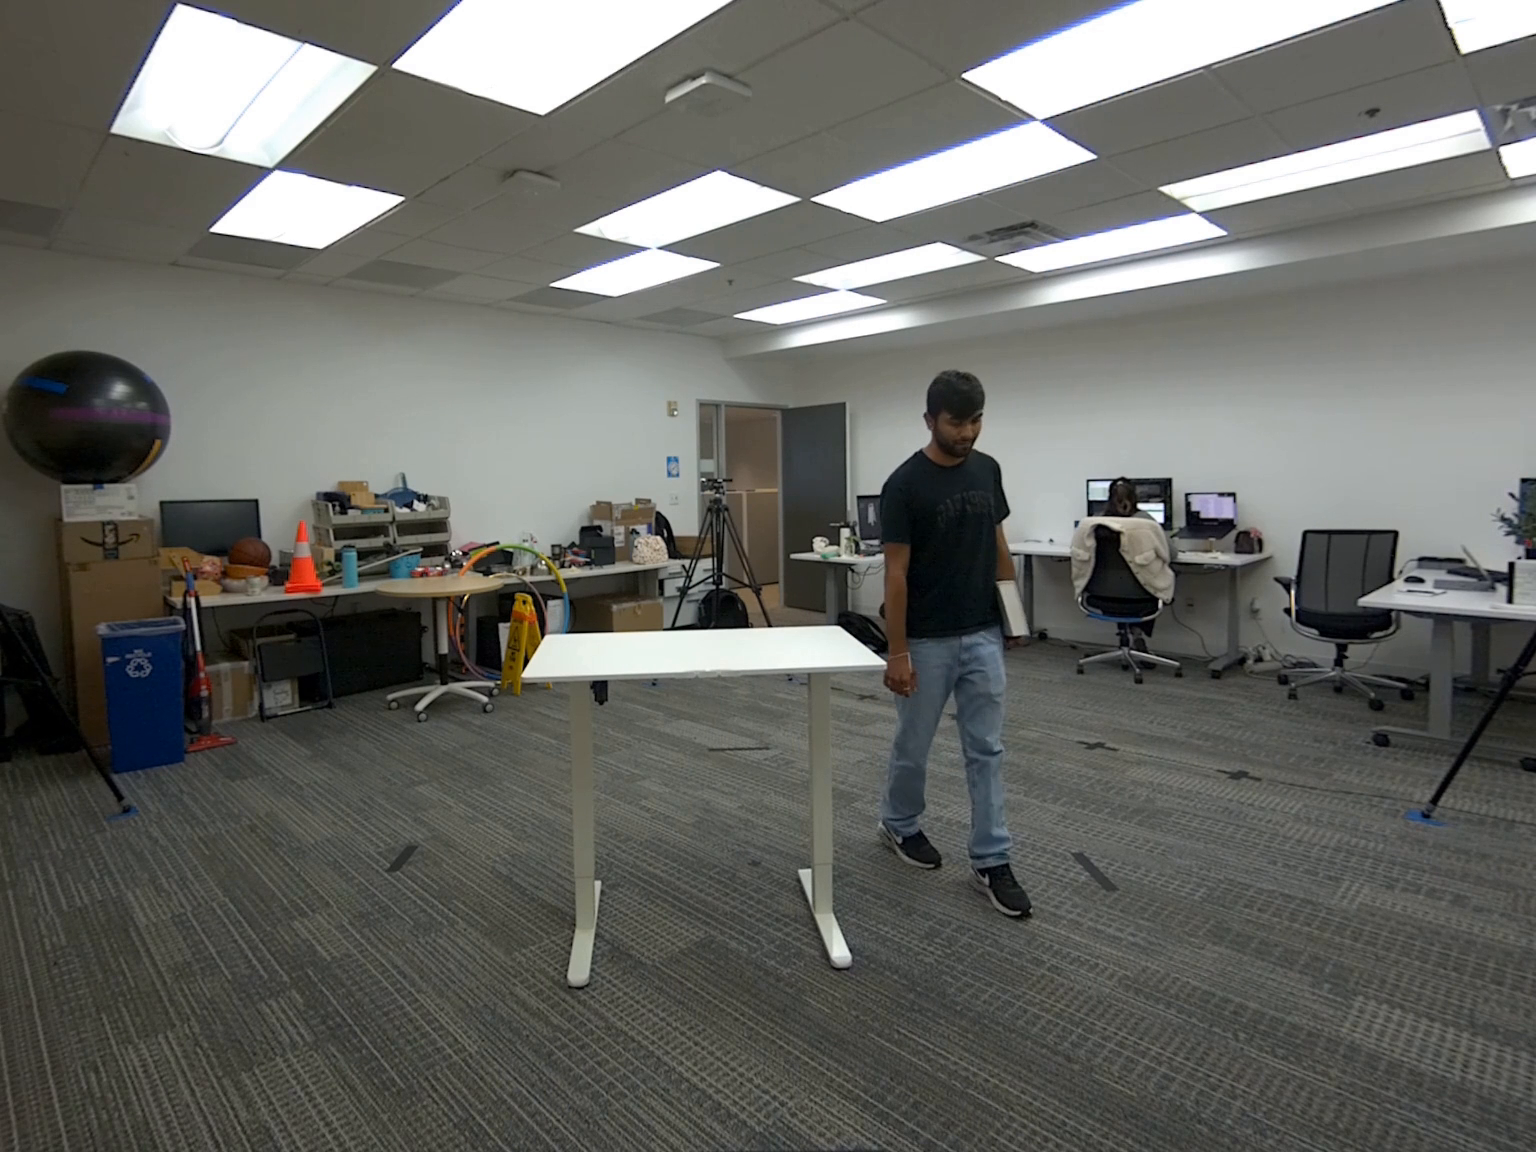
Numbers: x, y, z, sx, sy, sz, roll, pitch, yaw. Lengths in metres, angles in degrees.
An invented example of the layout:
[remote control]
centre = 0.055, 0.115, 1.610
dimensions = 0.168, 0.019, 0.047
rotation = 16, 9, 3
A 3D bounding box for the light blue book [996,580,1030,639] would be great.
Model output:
[light blue book]
centre = 0.788, 0.105, 2.960
dimensions = 0.059, 0.192, 0.262
rotation = -13, -1, -9
